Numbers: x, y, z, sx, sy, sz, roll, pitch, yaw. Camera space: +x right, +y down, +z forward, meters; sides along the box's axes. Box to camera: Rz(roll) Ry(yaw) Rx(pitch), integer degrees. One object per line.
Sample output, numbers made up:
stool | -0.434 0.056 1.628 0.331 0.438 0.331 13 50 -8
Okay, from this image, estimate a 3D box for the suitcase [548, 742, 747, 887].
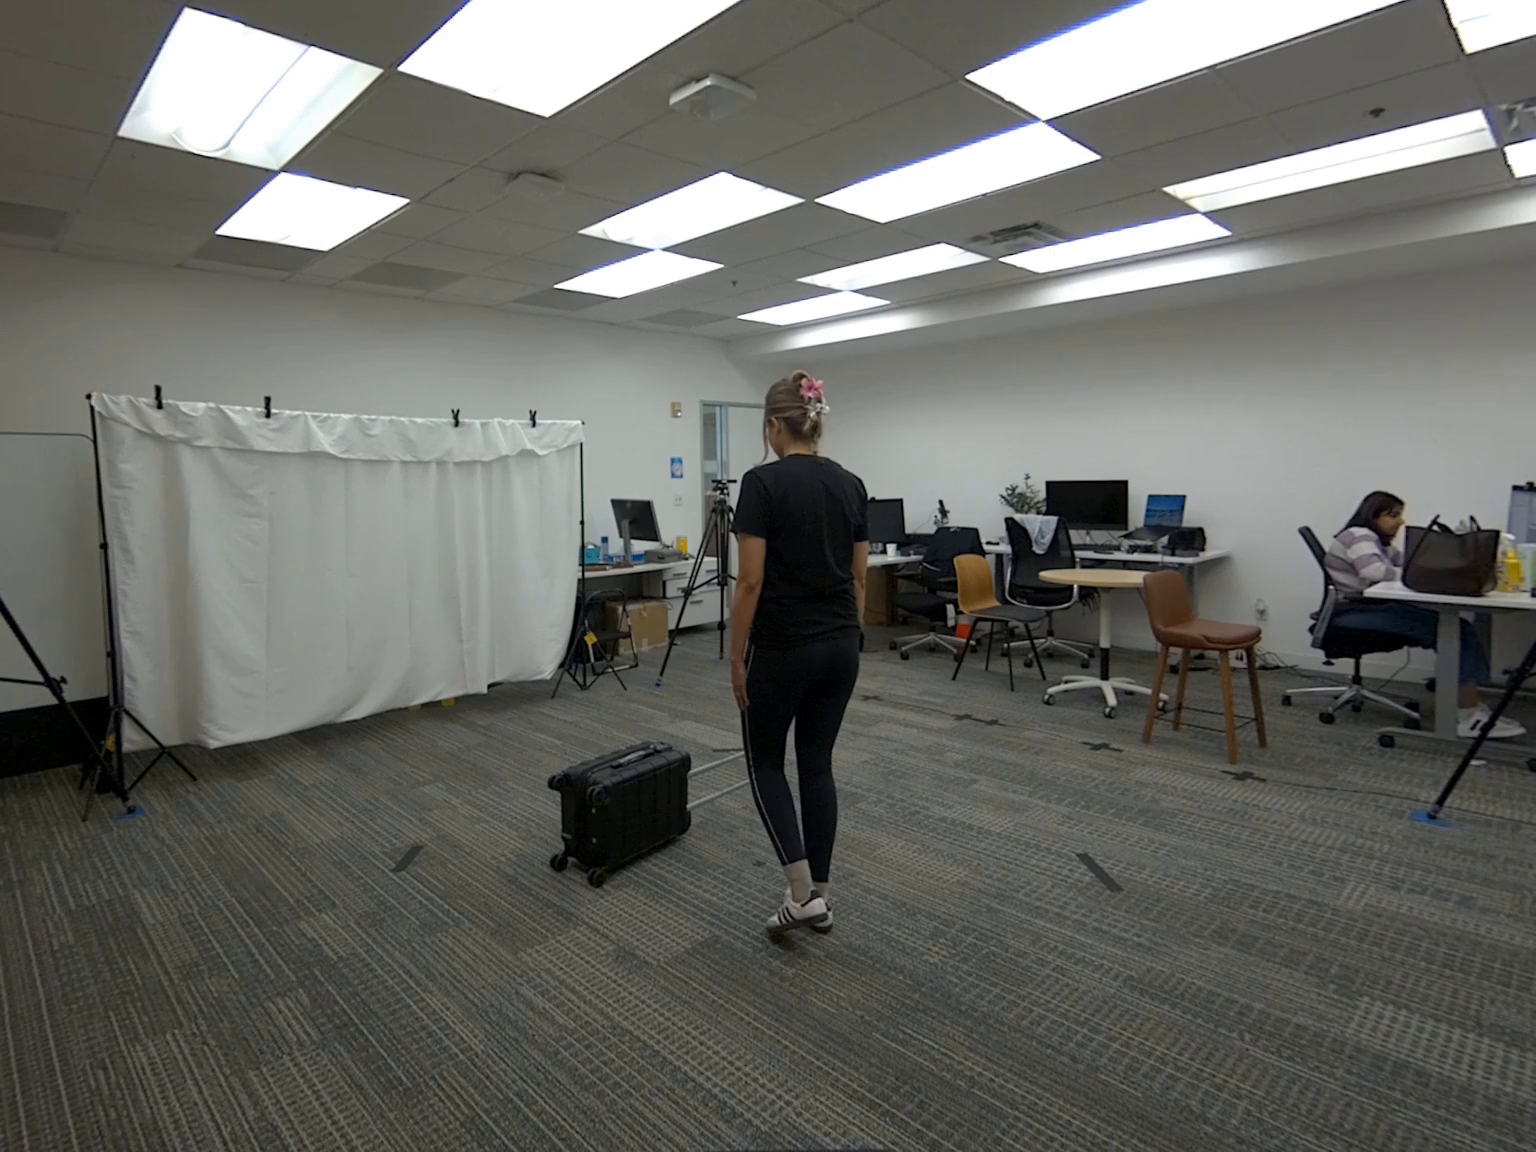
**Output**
suitcase | -0.417 0.837 3.377 0.264 0.382 0.955 2 7 35
